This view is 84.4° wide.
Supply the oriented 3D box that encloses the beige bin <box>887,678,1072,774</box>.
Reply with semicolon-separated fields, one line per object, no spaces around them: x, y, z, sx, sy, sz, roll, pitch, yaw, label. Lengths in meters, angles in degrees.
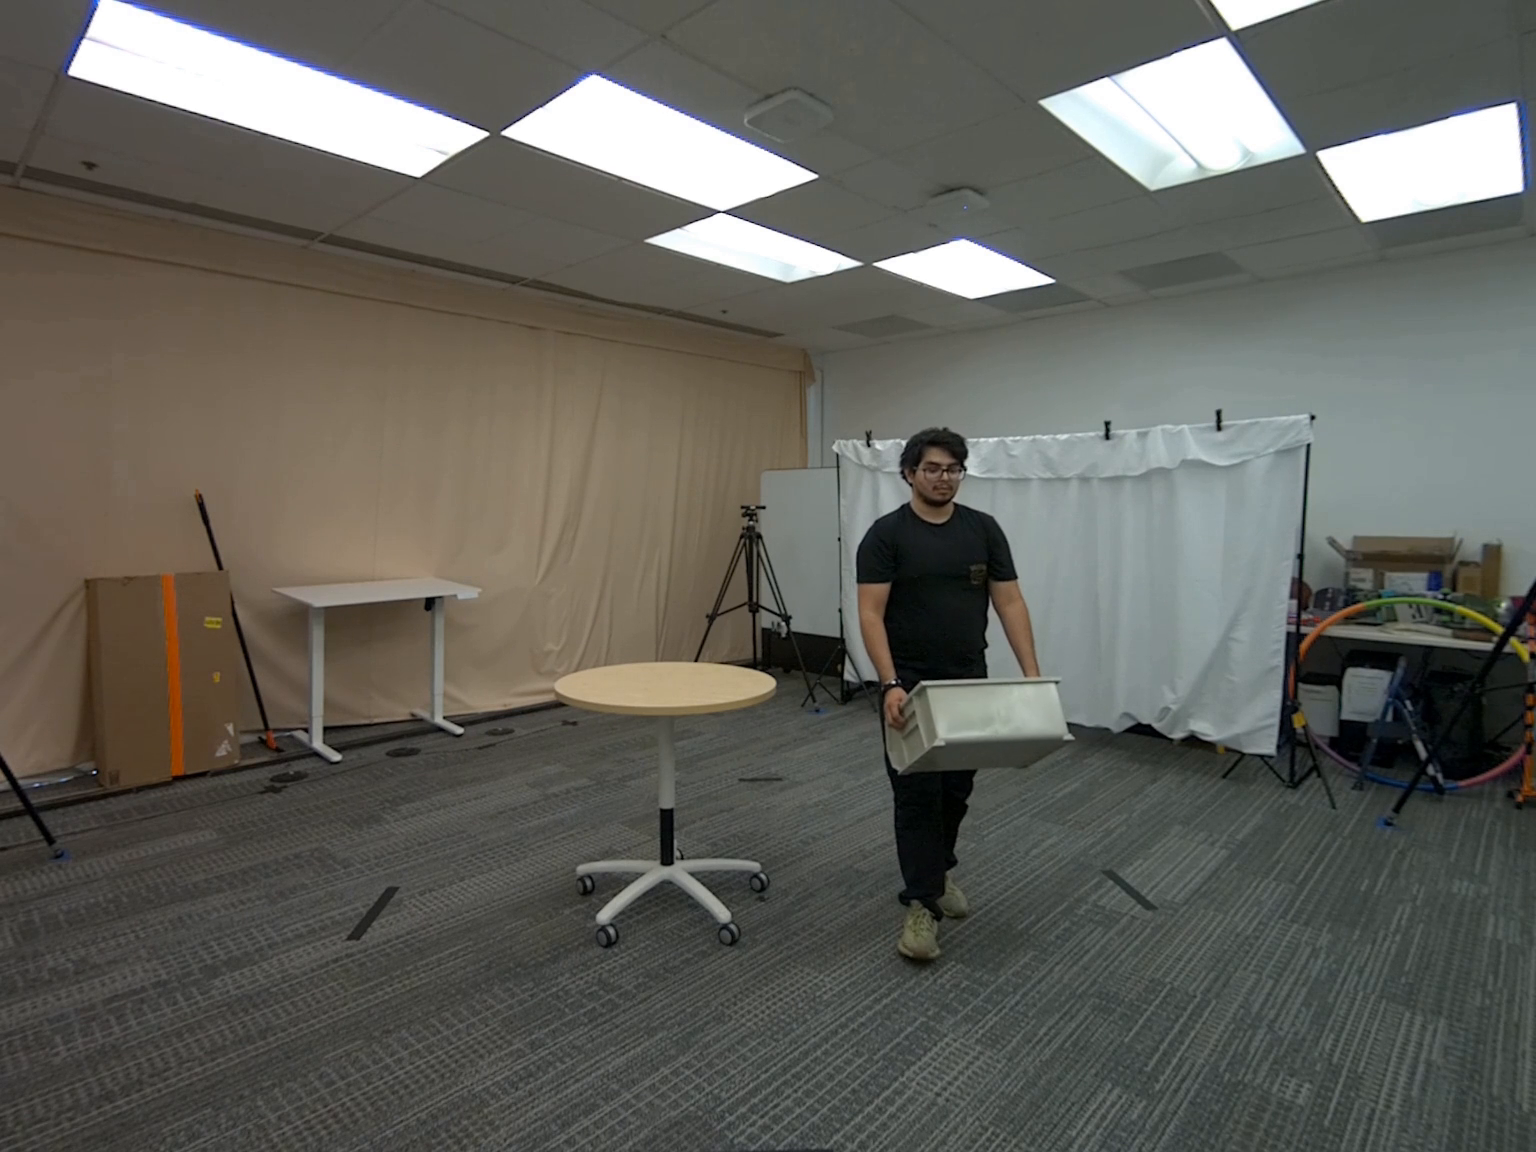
0.611;0.456;2.486;0.418;0.192;0.374;0;-27;-10;beige bin
